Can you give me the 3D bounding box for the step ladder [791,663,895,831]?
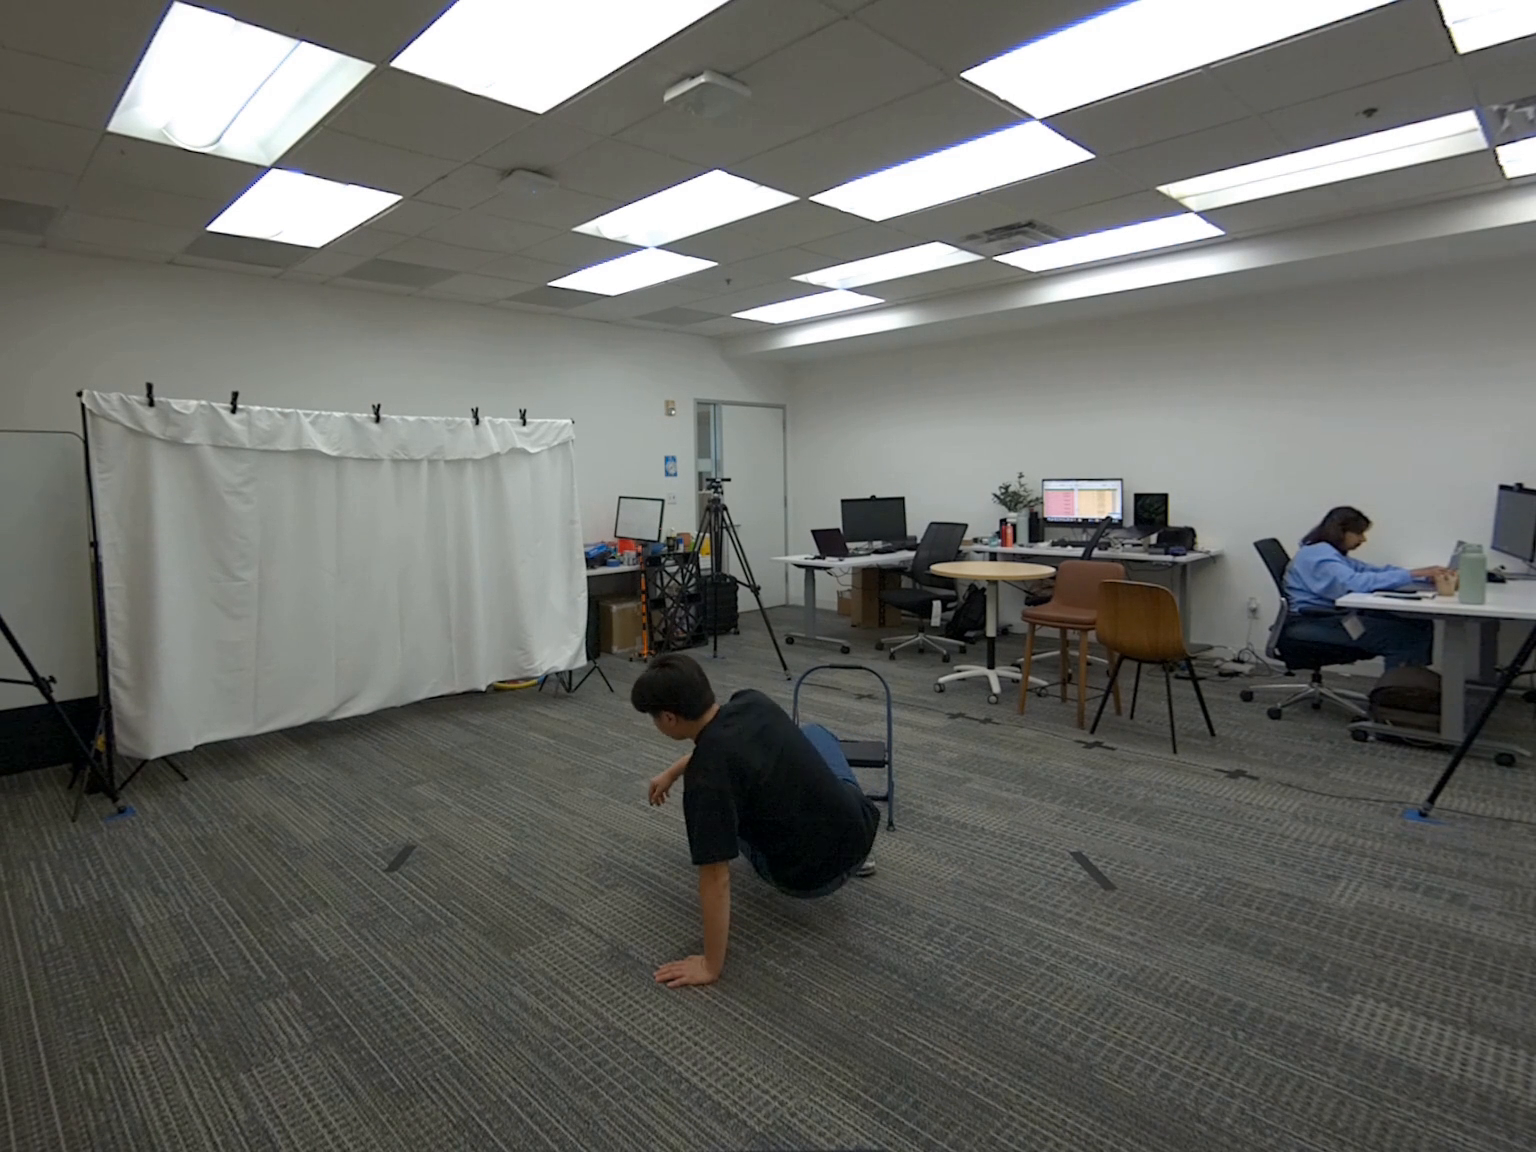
[{"bbox_3d":[0.313,0.683,3.552,0.435,0.604,0.347,1,4,9],"label":"step ladder"}]
